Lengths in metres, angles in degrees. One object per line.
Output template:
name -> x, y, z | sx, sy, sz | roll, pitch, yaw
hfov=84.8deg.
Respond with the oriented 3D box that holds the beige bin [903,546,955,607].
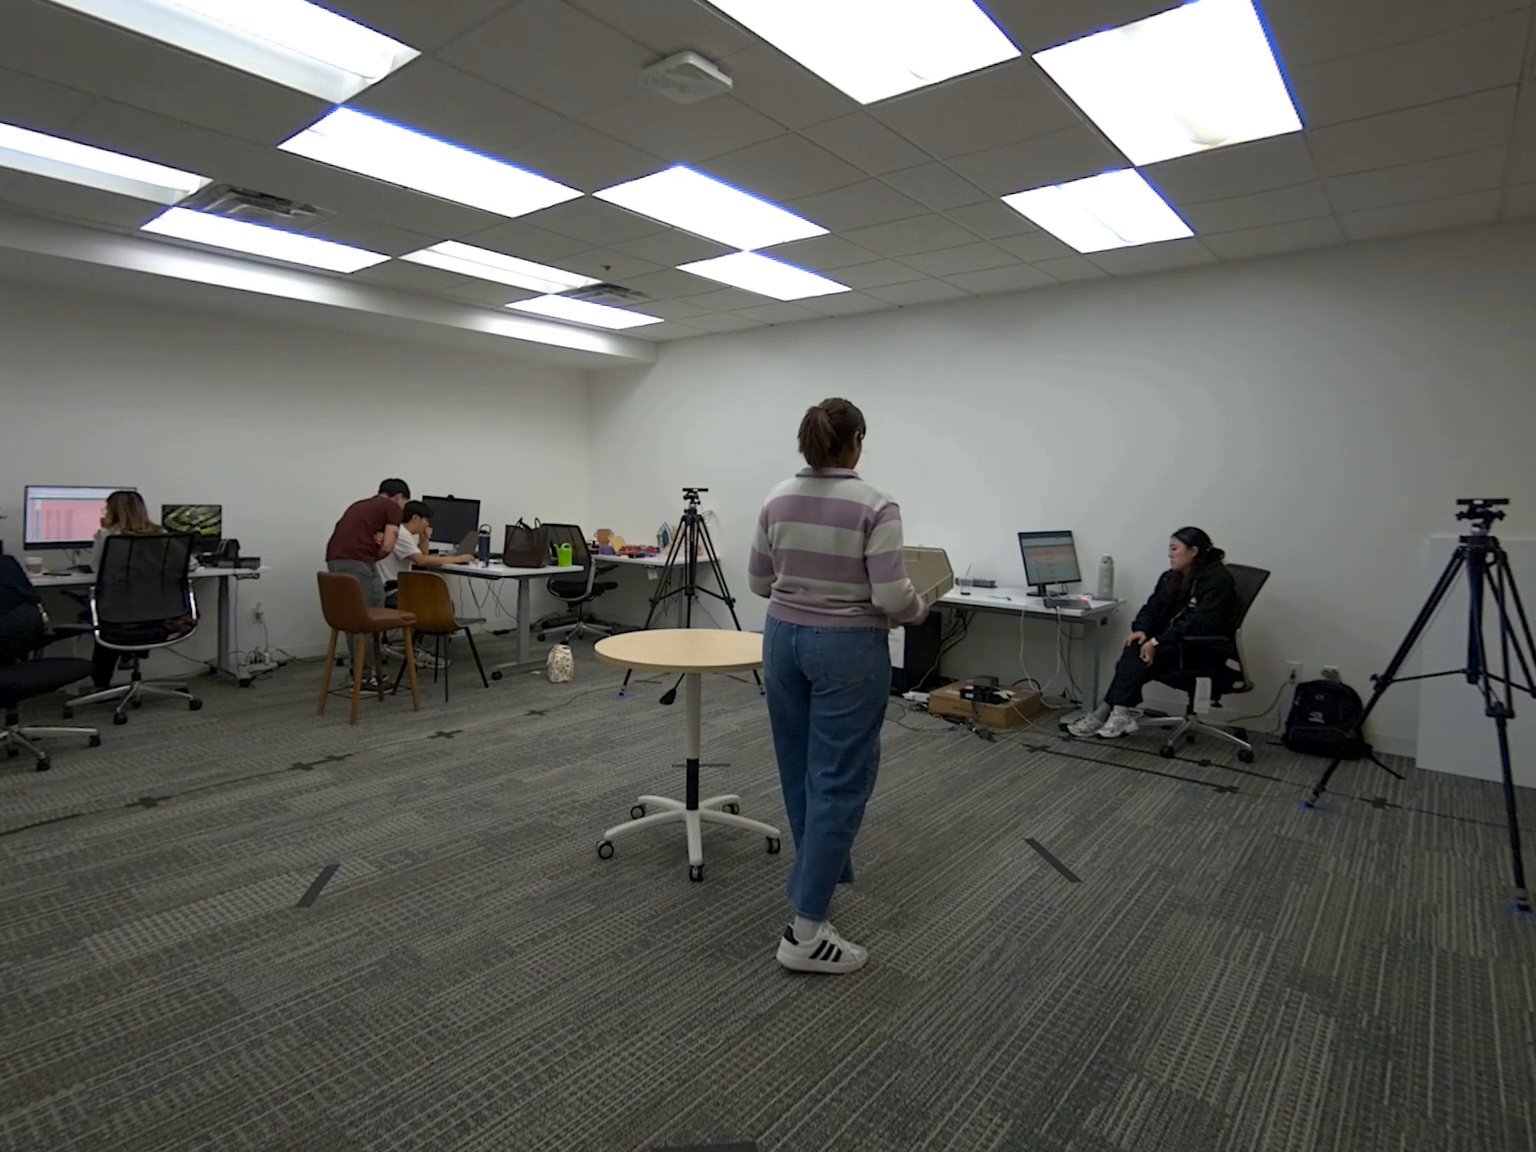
beige bin -> 0.387, 0.026, 2.956 | 0.389, 0.187, 0.414 | 4, 15, 33
